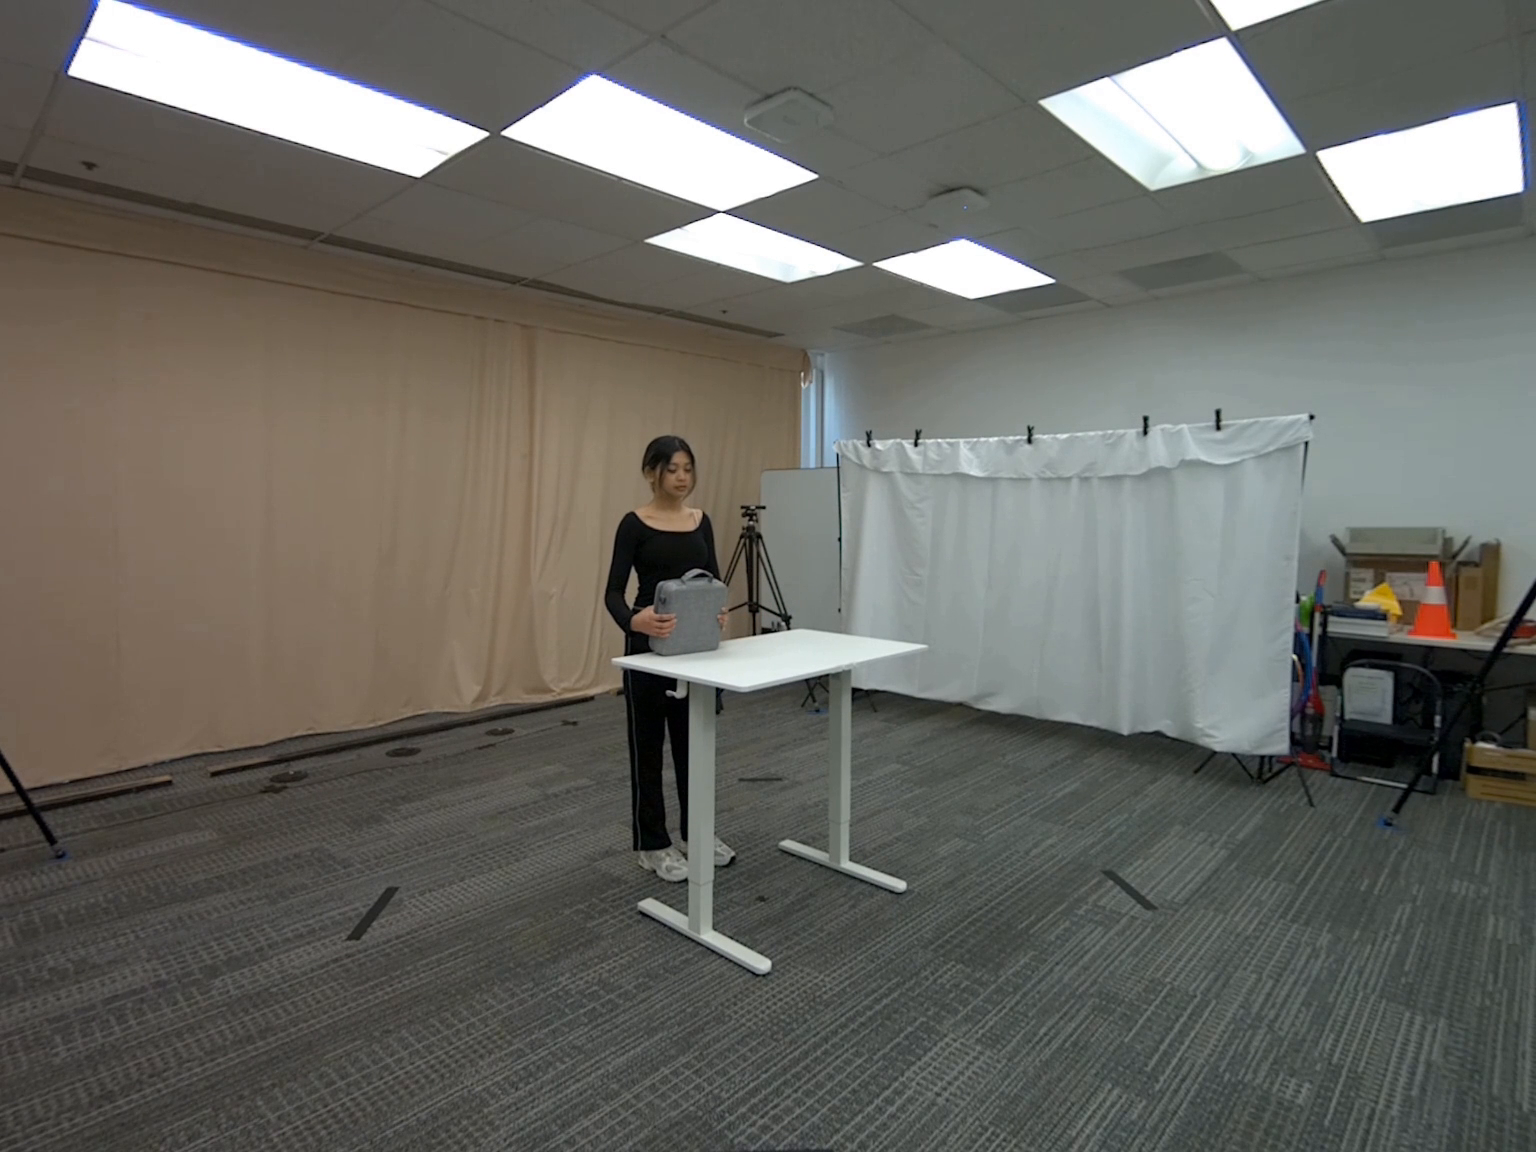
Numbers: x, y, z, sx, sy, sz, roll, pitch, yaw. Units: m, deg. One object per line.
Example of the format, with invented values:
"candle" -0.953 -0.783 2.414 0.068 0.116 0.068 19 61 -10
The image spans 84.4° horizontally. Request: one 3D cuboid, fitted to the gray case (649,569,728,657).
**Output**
"gray case" -0.271 0.138 2.897 0.249 0.259 0.108 -3 18 -39
